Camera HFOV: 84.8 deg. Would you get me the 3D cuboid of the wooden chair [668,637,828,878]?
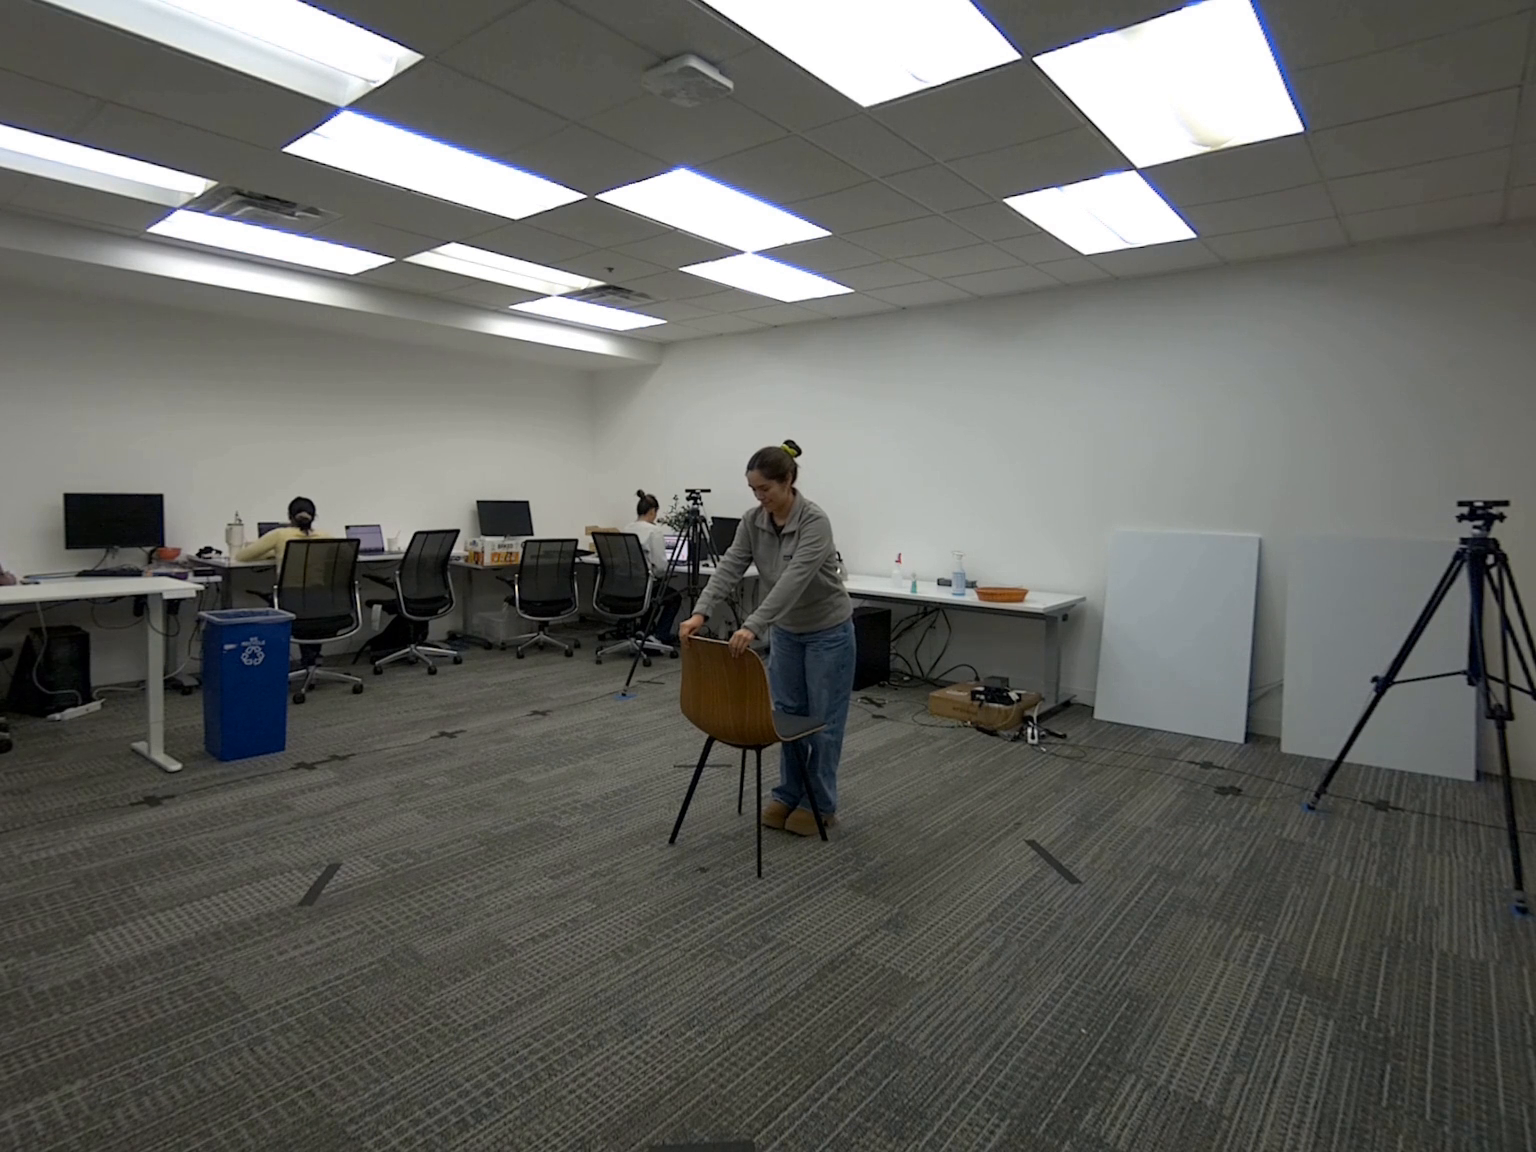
[{"bbox_3d":[-0.076,0.628,3.344,0.494,0.872,0.509,4,8,38],"label":"wooden chair"}]
